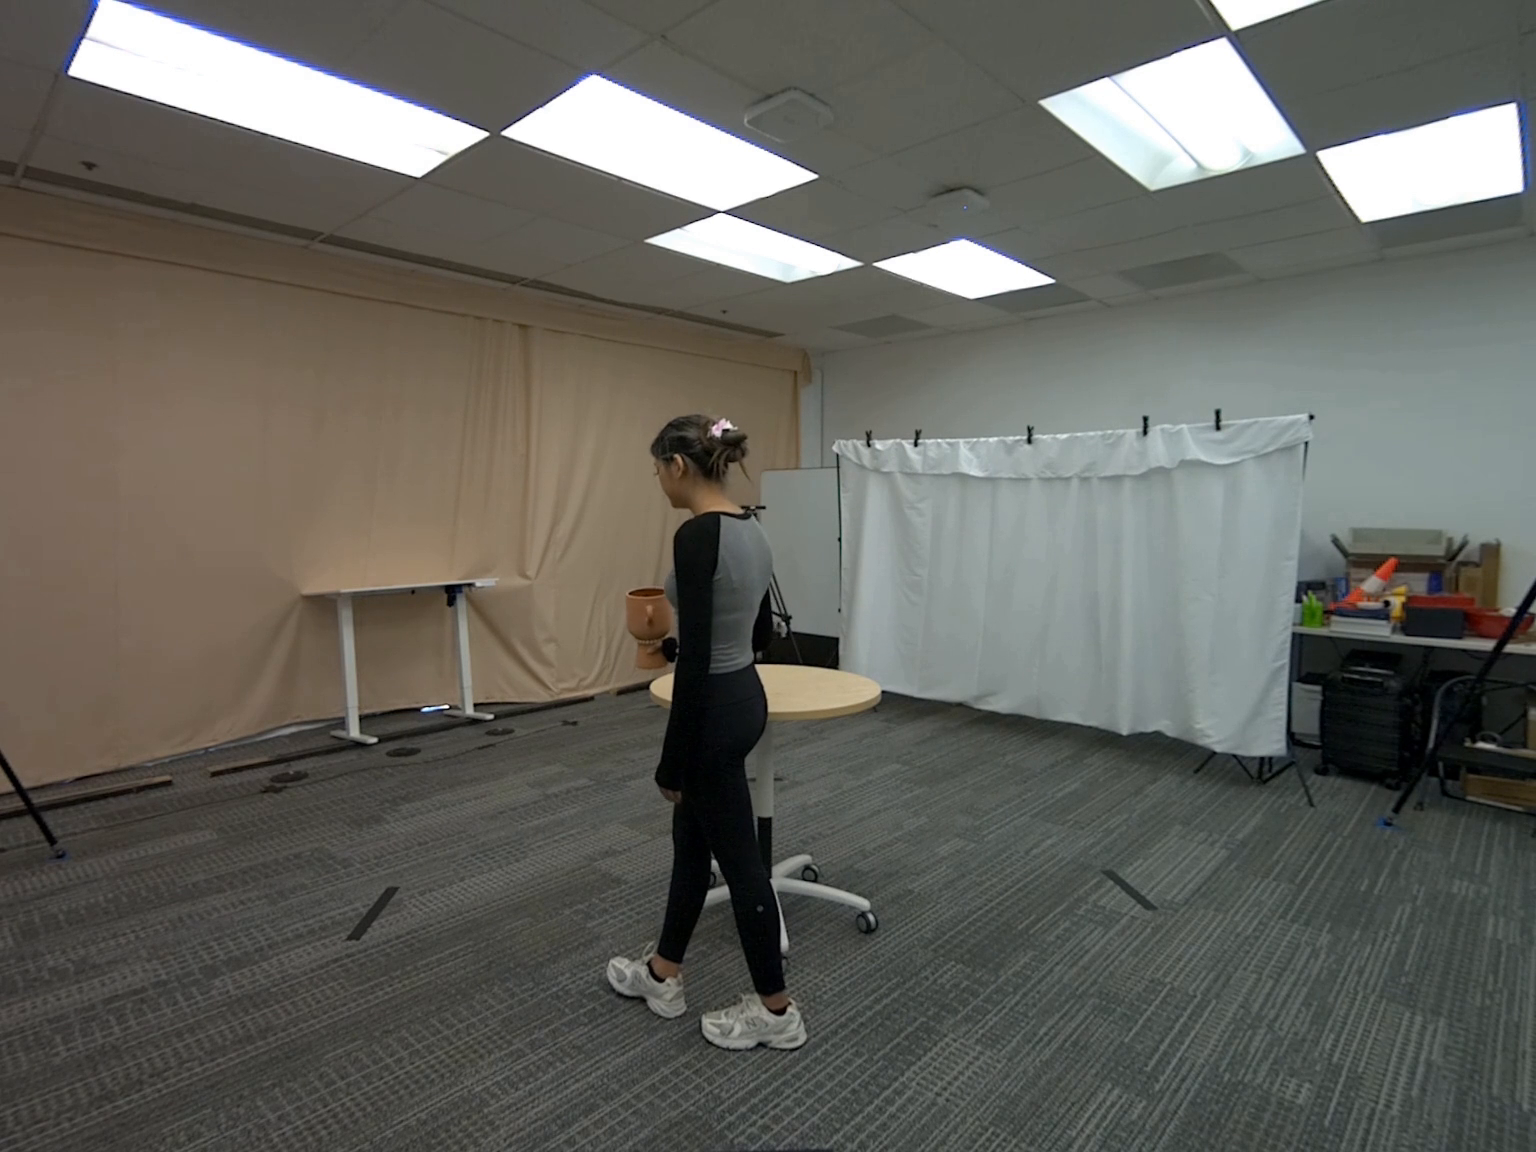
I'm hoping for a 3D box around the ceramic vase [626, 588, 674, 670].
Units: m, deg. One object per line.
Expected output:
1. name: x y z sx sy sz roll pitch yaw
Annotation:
1. ceramic vase: -0.342 0.154 2.467 0.139 0.218 0.155 5 13 30
